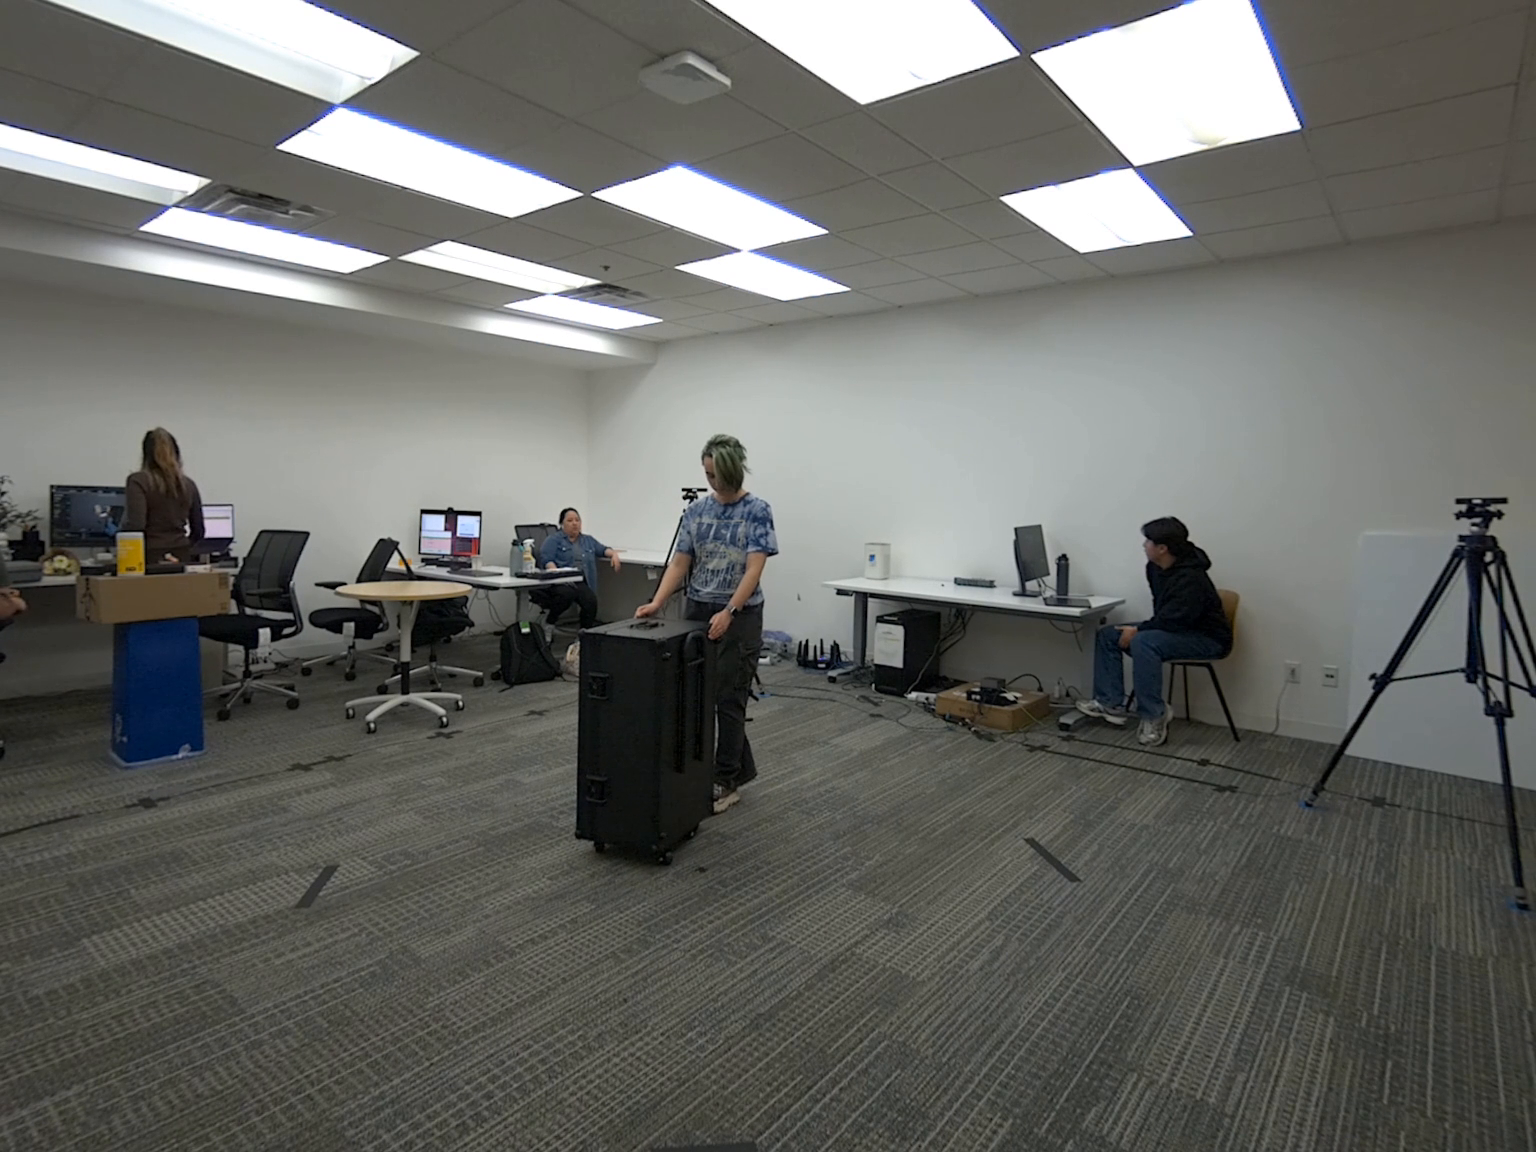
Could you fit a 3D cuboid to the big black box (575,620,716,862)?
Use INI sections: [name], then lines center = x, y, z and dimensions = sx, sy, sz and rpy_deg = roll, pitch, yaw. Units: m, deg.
[big black box]
center = -0.466, 0.623, 3.320
dimensions = 0.406, 0.860, 0.510
rpy_deg = 3, 3, 22
